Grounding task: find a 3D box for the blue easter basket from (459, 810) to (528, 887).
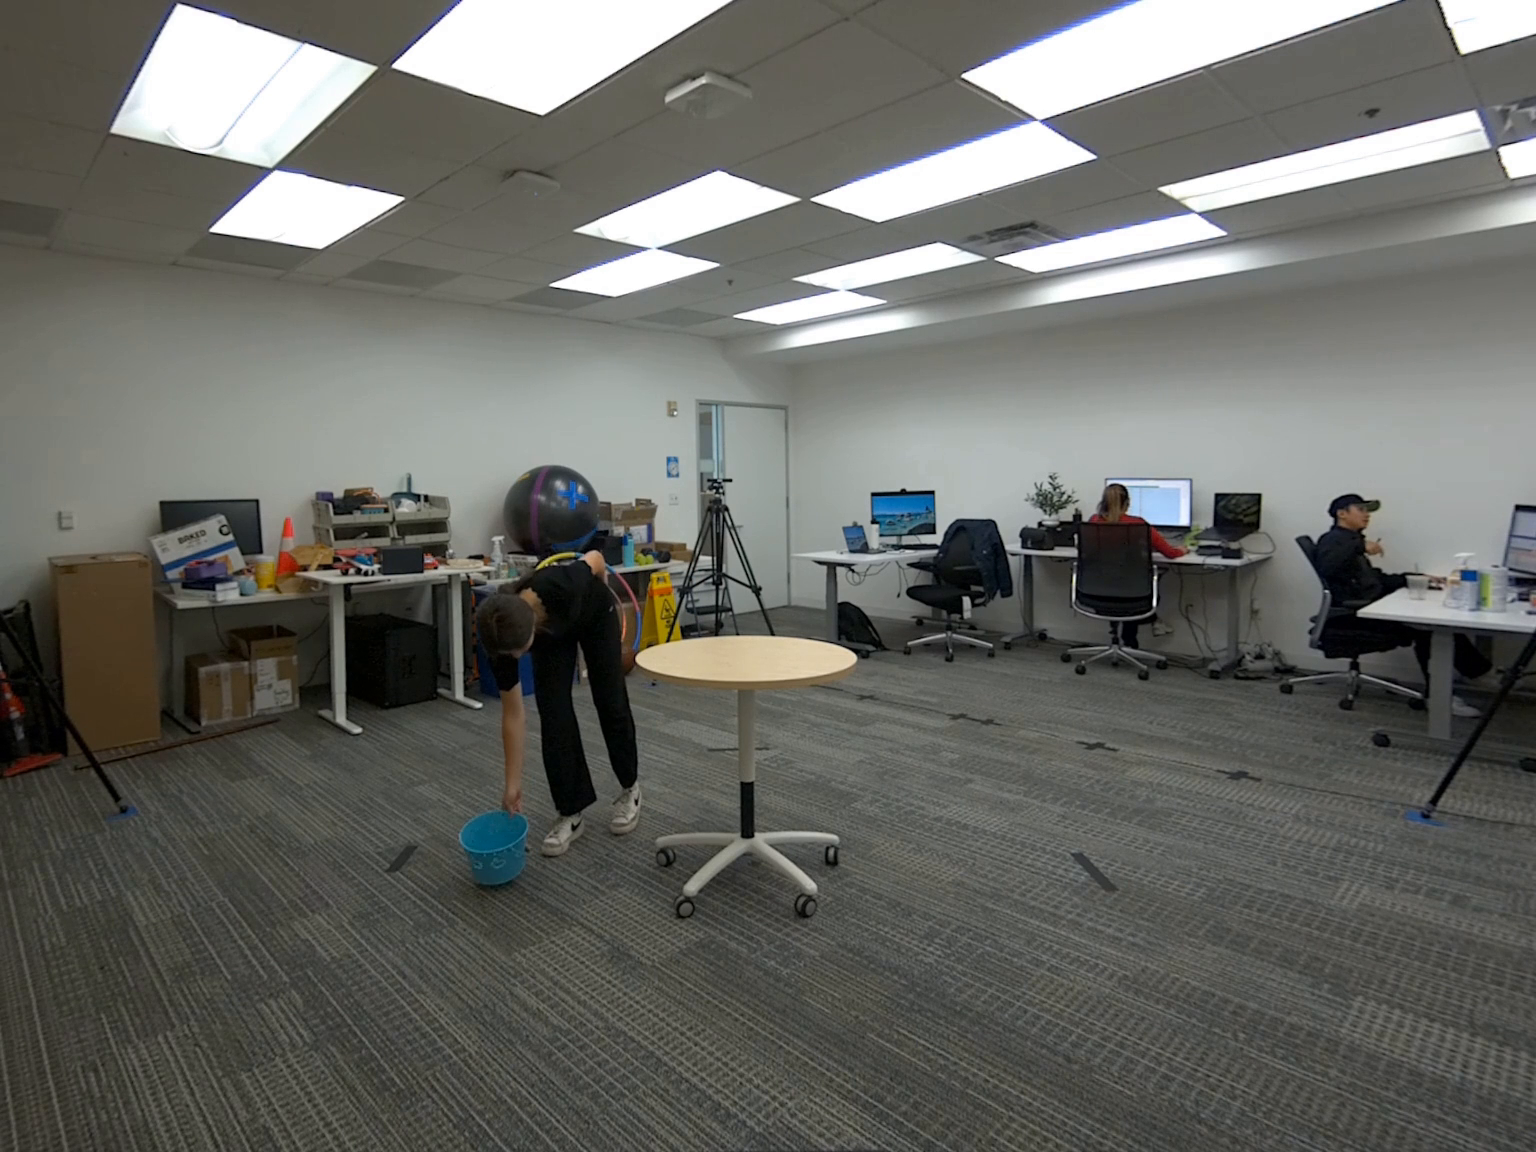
[{"bbox_3d":[-0.963,0.962,2.978,0.243,0.153,0.247,-1,18,-1],"label":"blue easter basket"}]
